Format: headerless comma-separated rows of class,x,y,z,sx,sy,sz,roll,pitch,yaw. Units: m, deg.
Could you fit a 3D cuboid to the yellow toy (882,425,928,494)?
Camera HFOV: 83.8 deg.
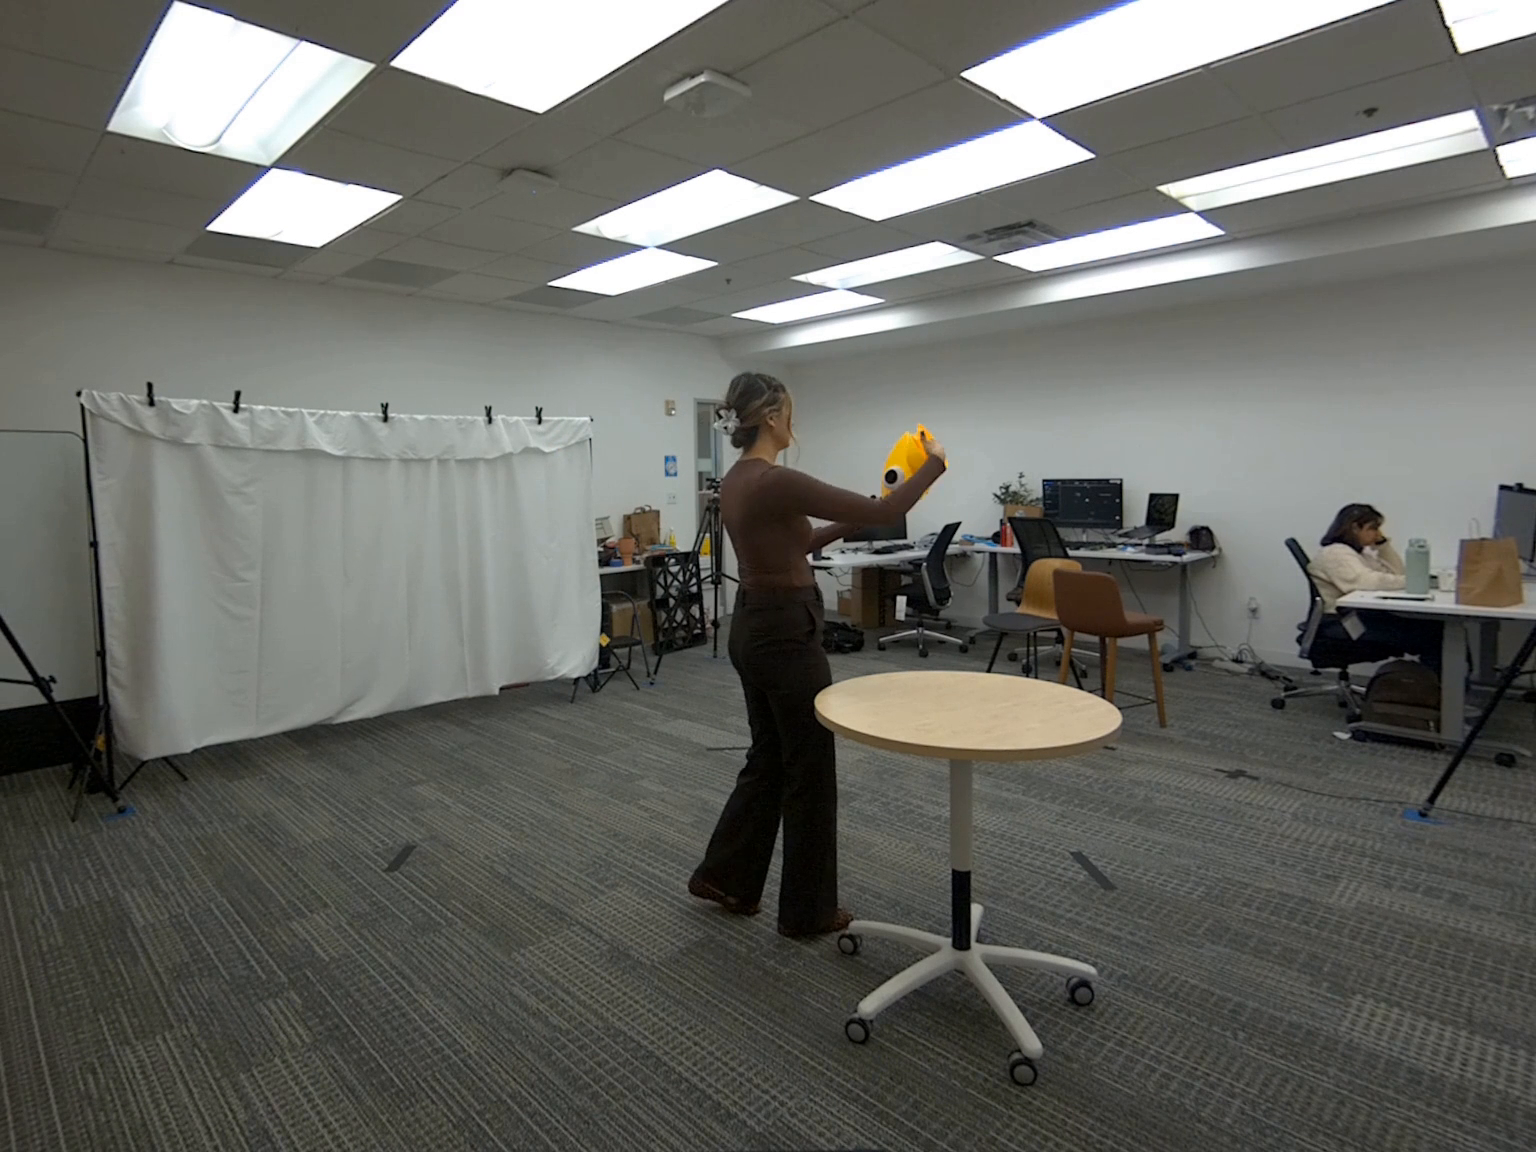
yellow toy,0.431,-0.328,2.678,0.233,0.192,0.204,-32,6,30
